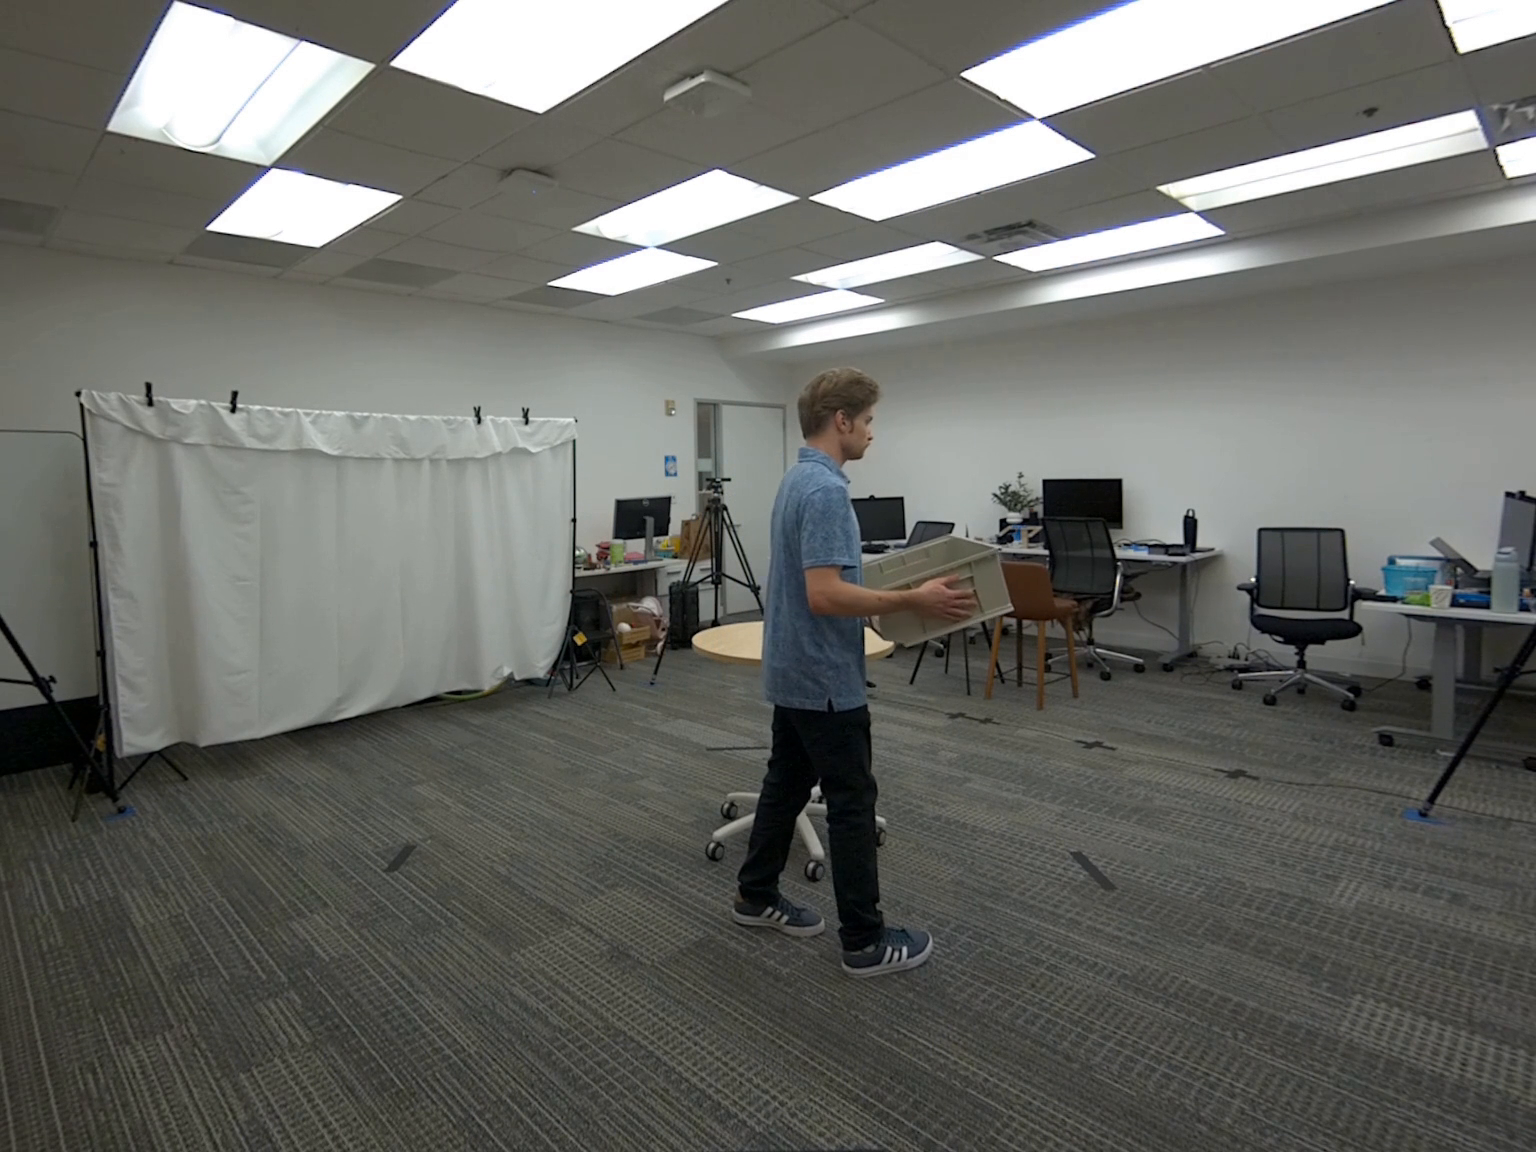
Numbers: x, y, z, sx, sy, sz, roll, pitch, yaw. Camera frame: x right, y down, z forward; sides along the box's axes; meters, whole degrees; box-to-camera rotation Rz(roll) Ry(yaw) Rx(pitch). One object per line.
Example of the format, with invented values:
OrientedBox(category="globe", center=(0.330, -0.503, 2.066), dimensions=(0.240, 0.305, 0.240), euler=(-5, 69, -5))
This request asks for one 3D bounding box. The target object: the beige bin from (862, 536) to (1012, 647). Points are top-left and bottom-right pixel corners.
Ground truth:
OrientedBox(category="beige bin", center=(0.458, 0.046, 2.496), dimensions=(0.376, 0.187, 0.427), euler=(-18, 9, -4))
